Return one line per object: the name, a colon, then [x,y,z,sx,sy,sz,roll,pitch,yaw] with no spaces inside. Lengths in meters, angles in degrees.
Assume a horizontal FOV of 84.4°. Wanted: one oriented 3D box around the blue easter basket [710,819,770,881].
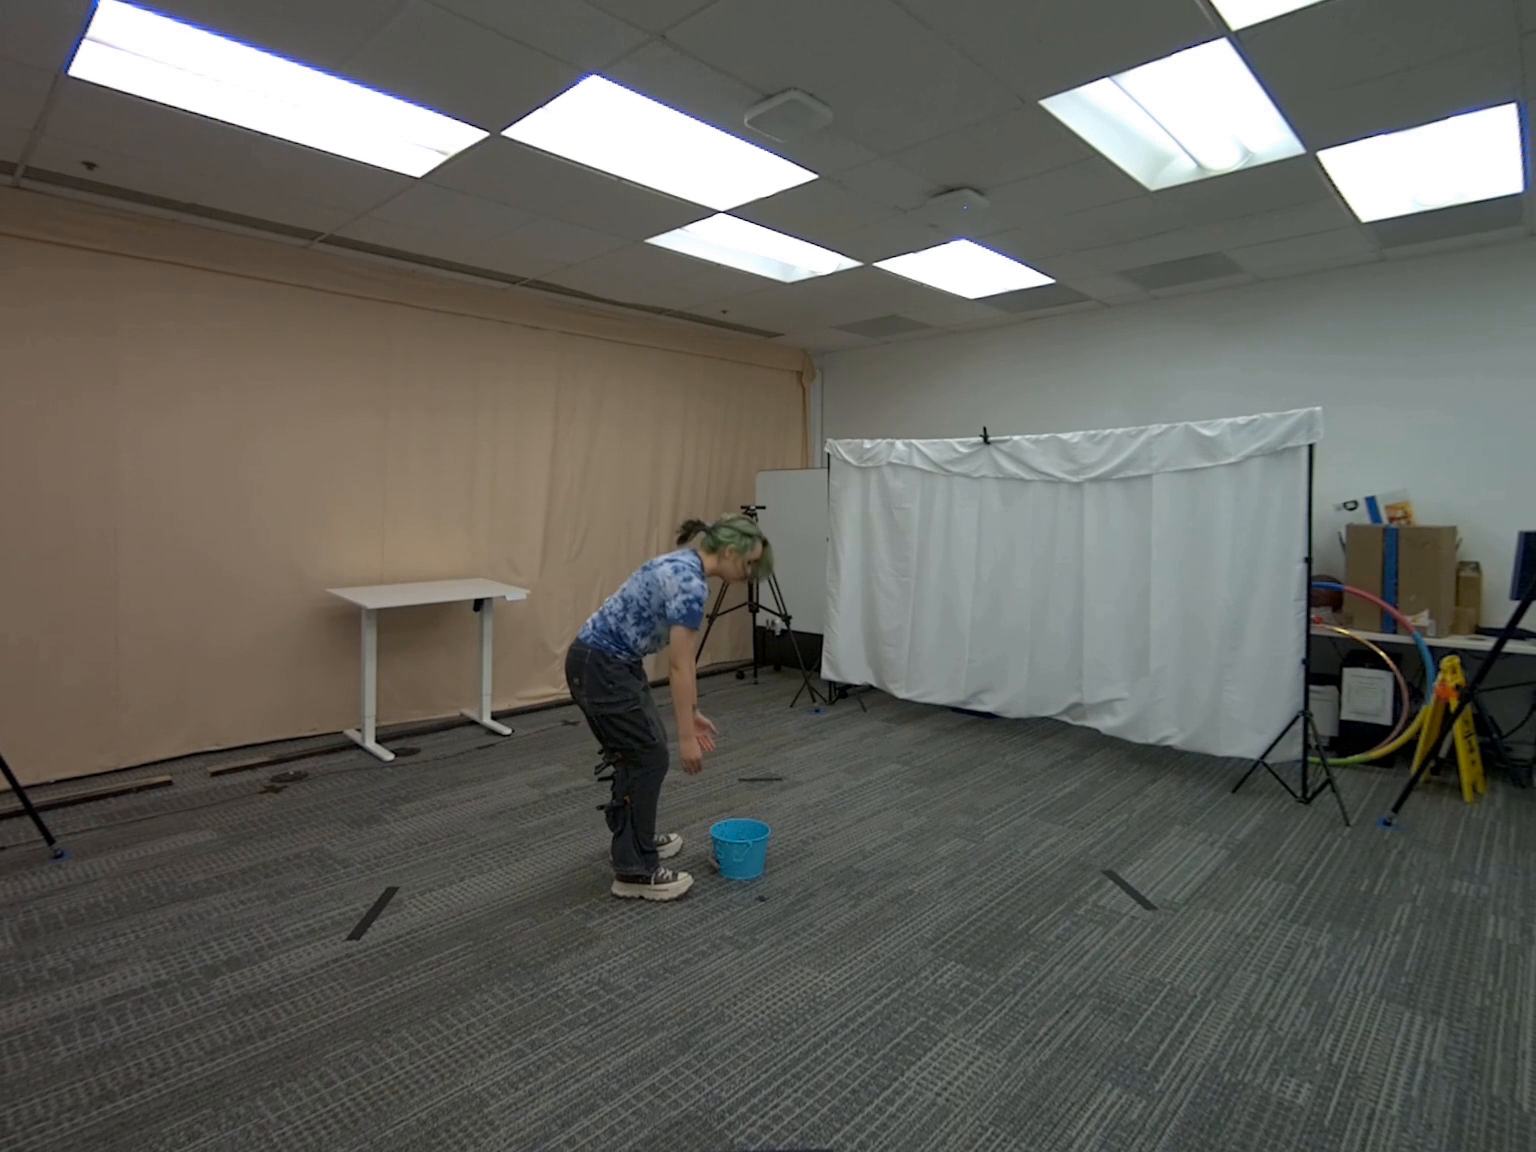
blue easter basket: [-0.106,1.047,3.228,0.243,0.155,0.244,1,5,-2]
